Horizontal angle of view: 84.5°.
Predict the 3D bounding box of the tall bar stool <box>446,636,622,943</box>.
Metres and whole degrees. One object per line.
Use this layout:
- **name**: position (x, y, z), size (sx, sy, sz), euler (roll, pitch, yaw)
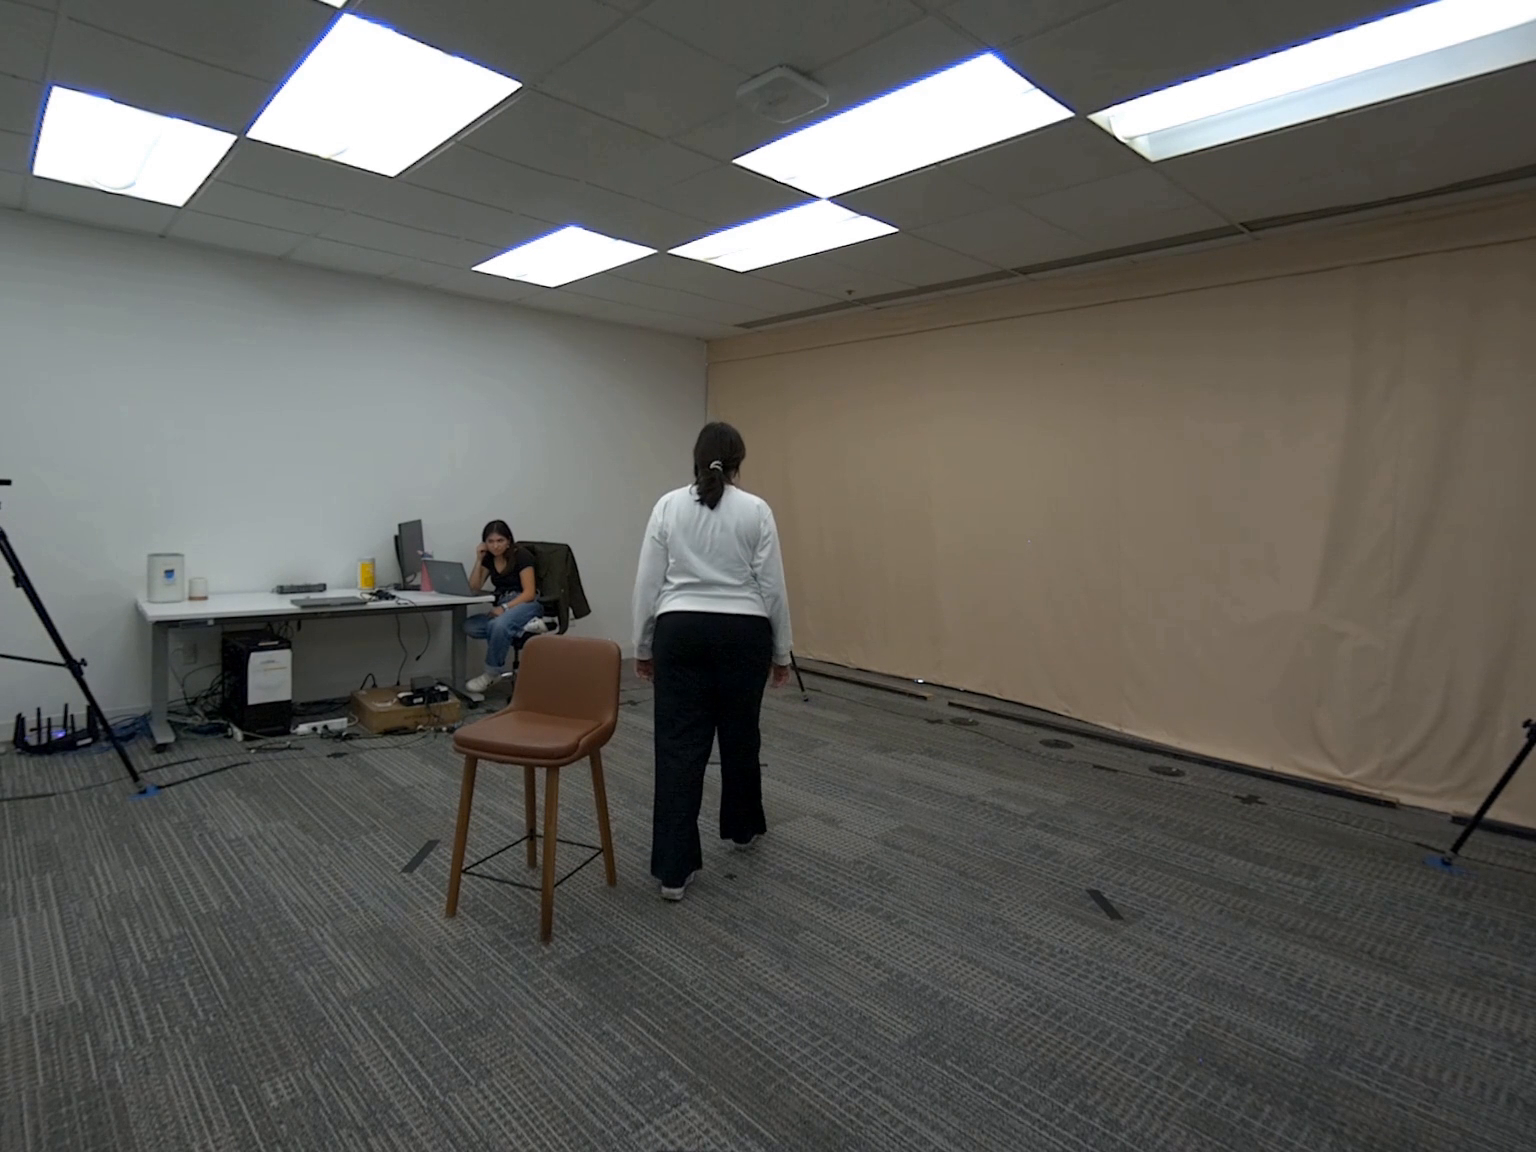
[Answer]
- **tall bar stool**: position (-0.787, 0.681, 2.864), size (0.465, 0.888, 0.460), euler (3, 2, 23)
